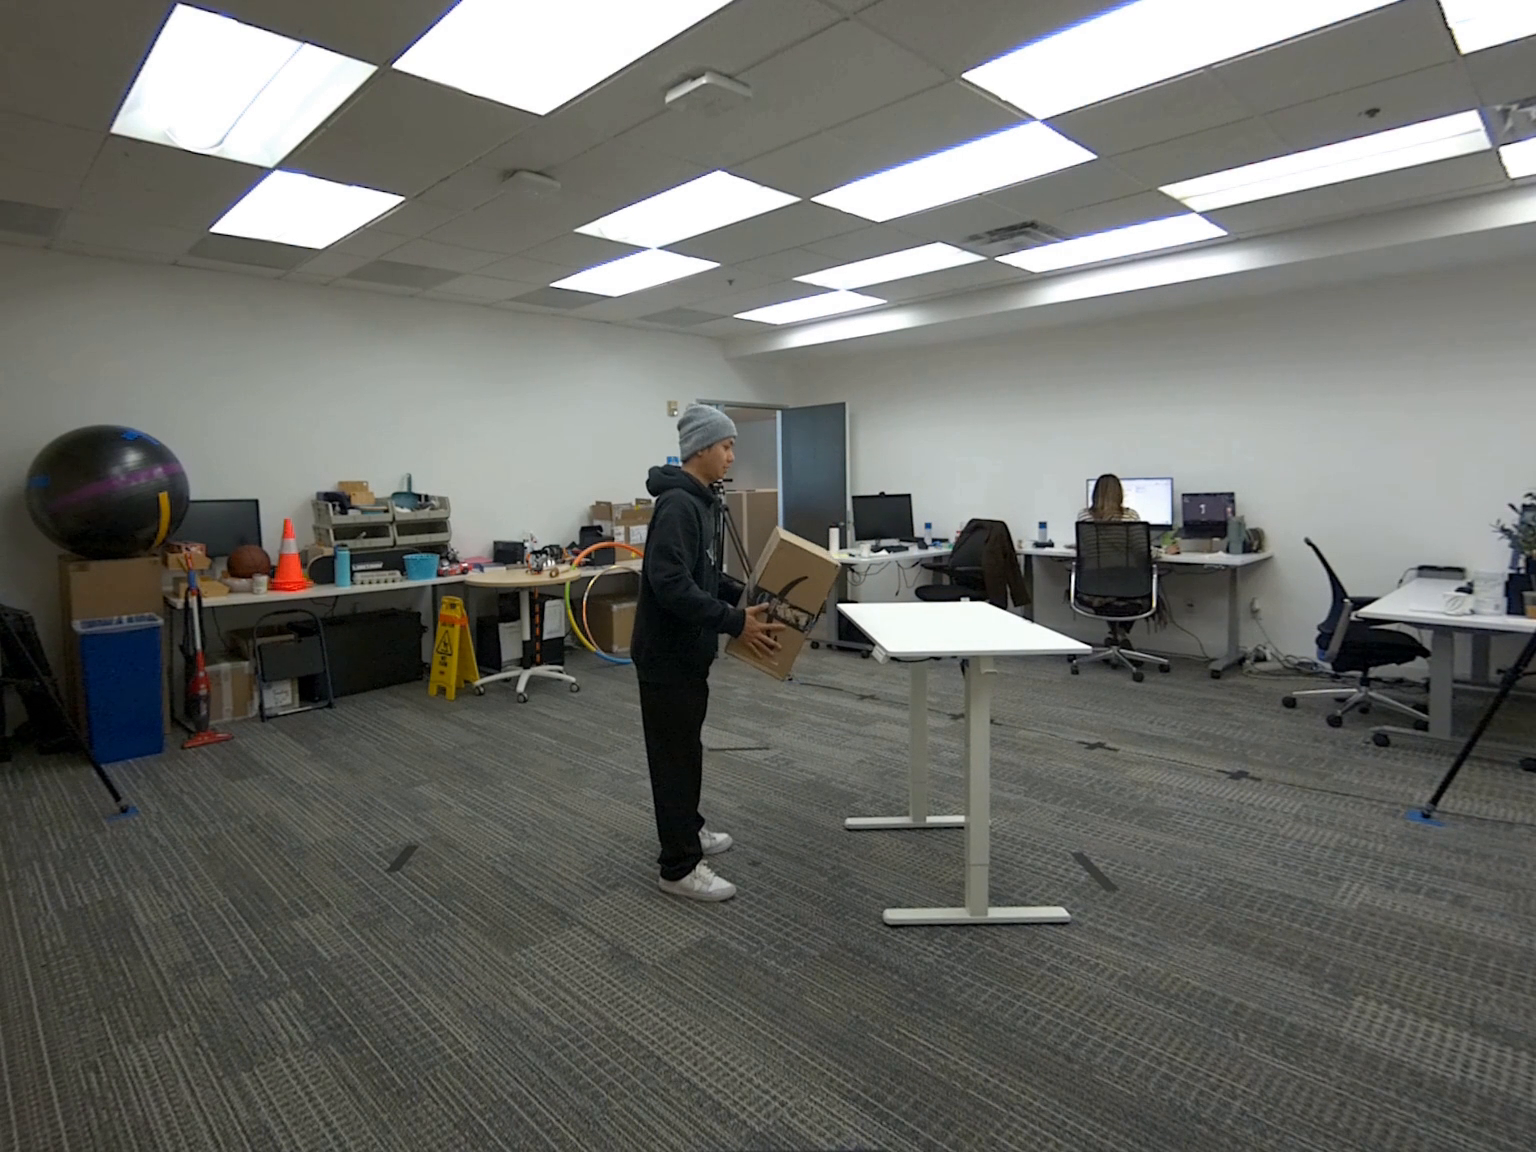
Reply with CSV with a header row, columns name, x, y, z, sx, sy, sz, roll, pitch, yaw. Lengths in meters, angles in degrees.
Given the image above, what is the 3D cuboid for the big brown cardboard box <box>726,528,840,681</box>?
name,x,y,z,sx,sy,sz,roll,pitch,yaw
big brown cardboard box,0.041,0.076,2.980,0.233,0.416,0.591,25,6,-3
